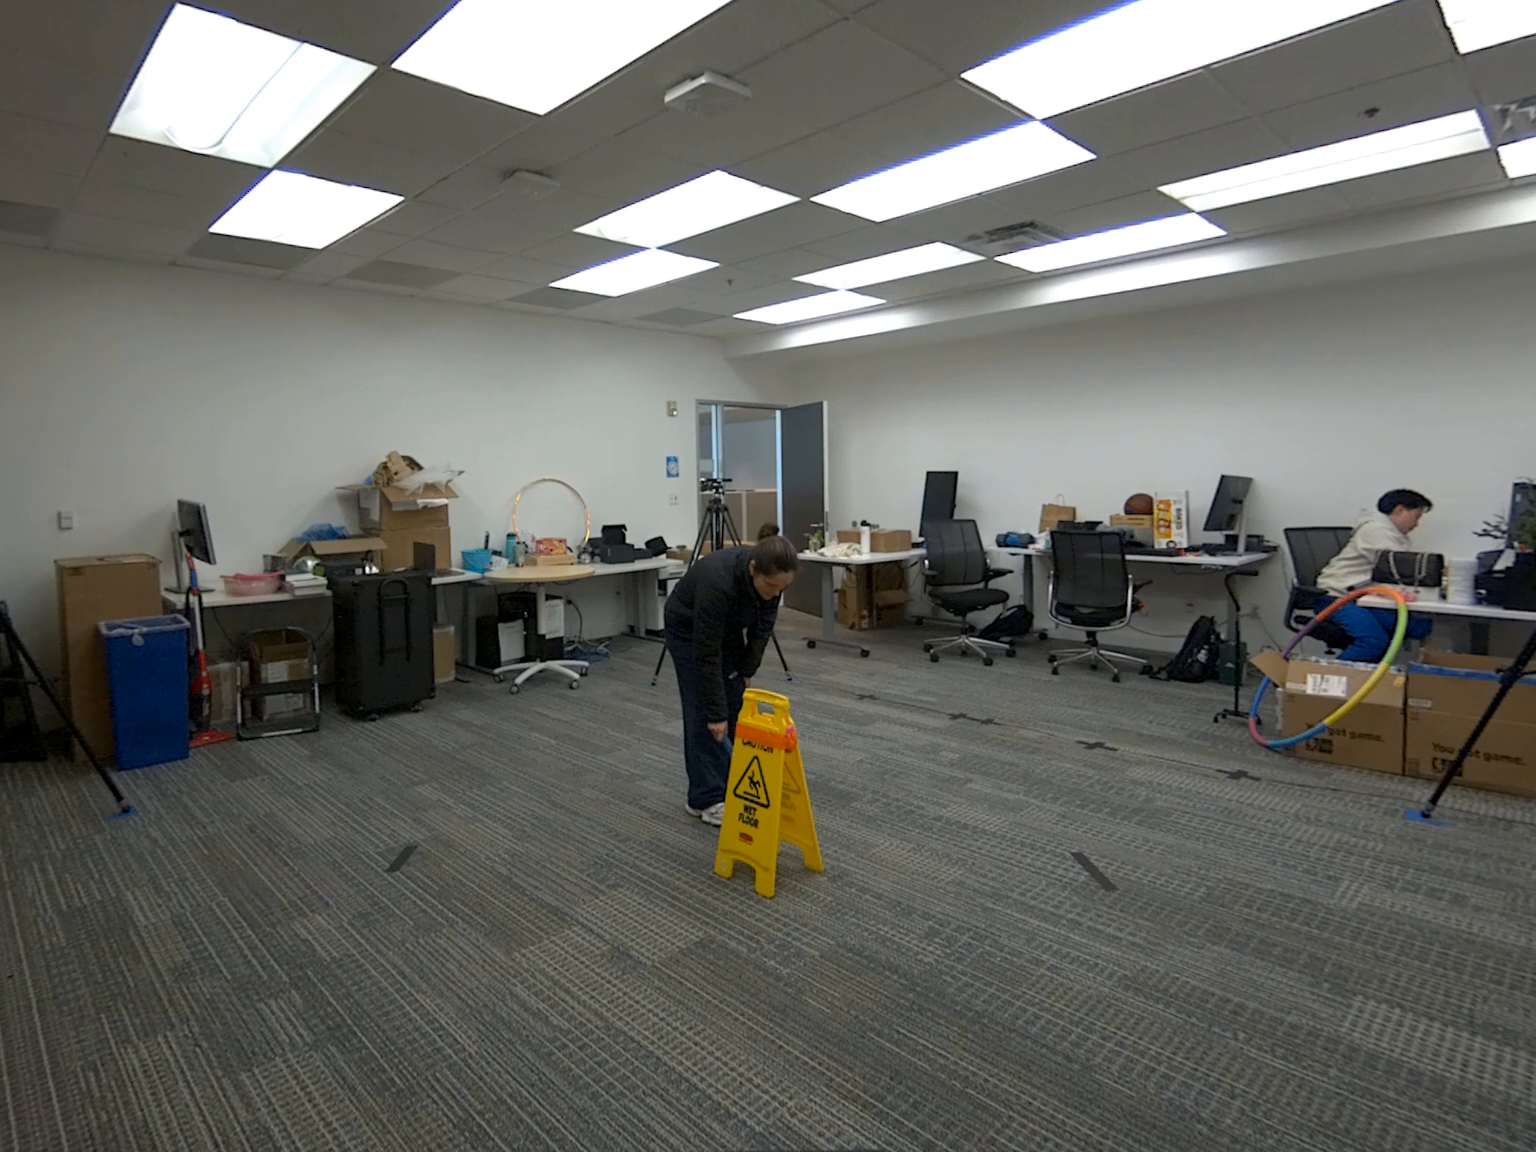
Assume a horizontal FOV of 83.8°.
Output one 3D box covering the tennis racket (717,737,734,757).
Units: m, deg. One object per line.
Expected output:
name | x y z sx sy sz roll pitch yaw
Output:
tennis racket | -0.099 0.797 3.396 0.032 0.444 0.207 -32 -22 16
